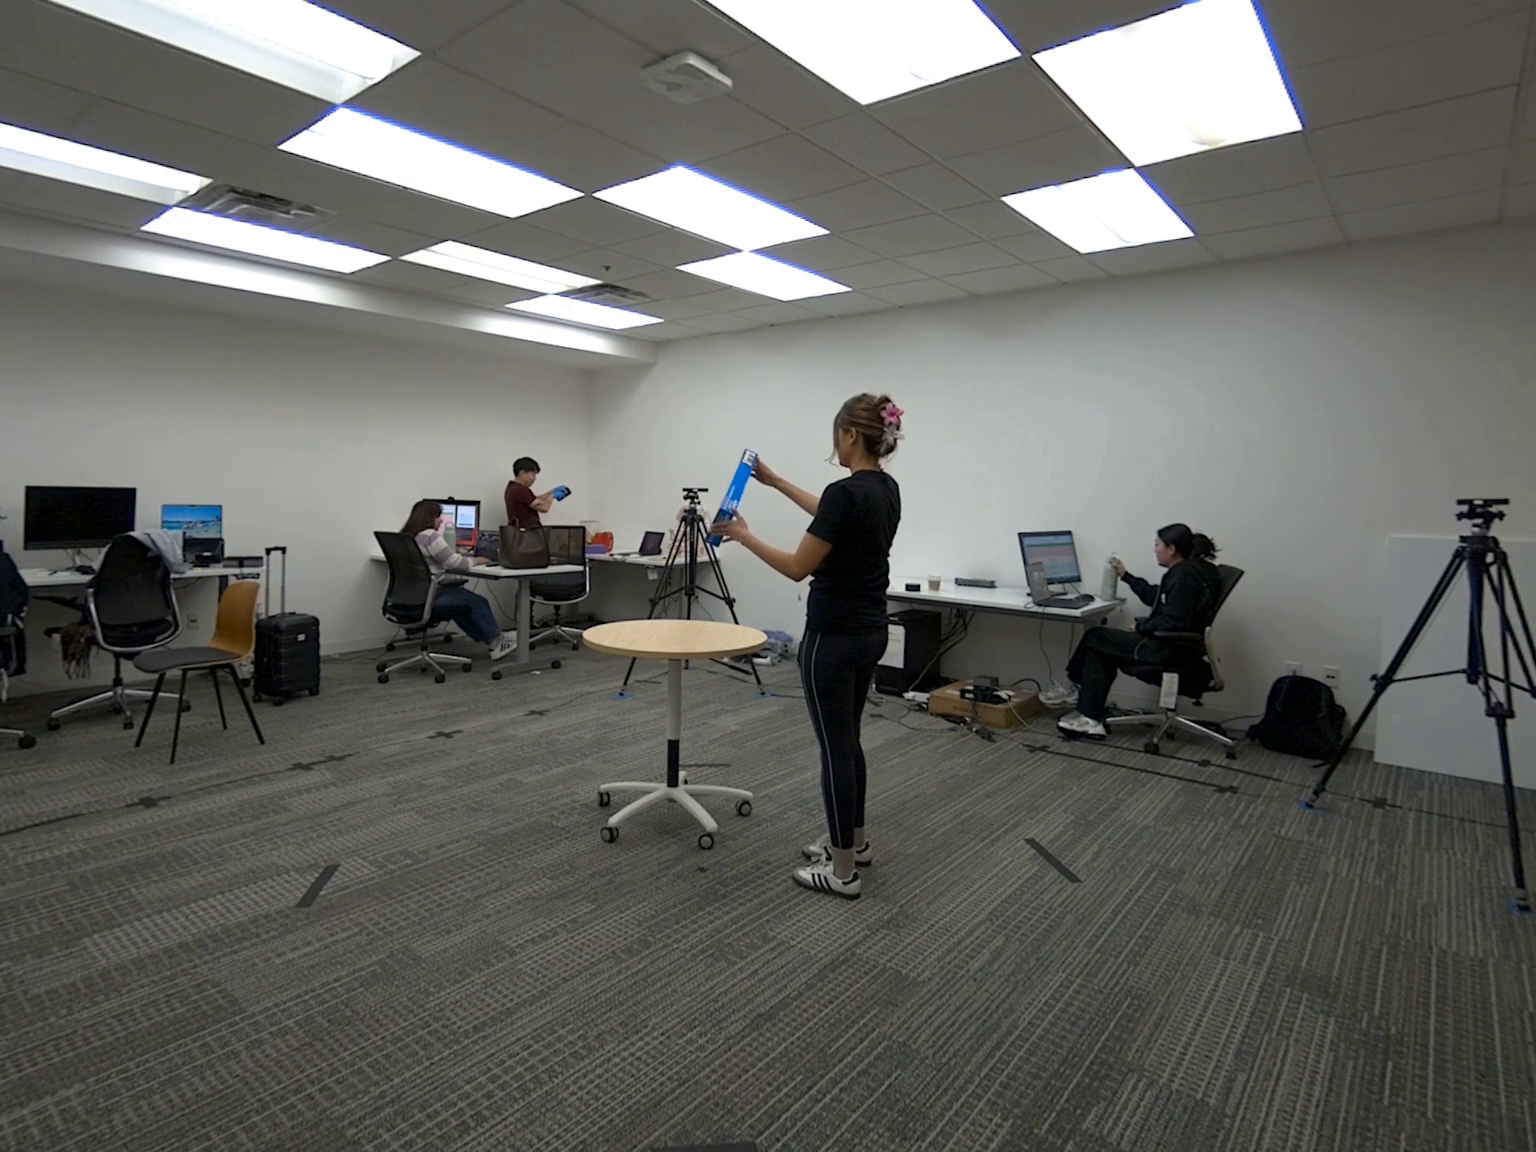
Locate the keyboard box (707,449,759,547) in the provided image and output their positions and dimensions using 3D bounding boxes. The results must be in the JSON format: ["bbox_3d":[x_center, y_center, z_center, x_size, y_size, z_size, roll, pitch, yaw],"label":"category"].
[{"bbox_3d":[-0.148,-0.306,3.269,0.059,0.174,0.443,24,40,-5],"label":"keyboard box"}]
